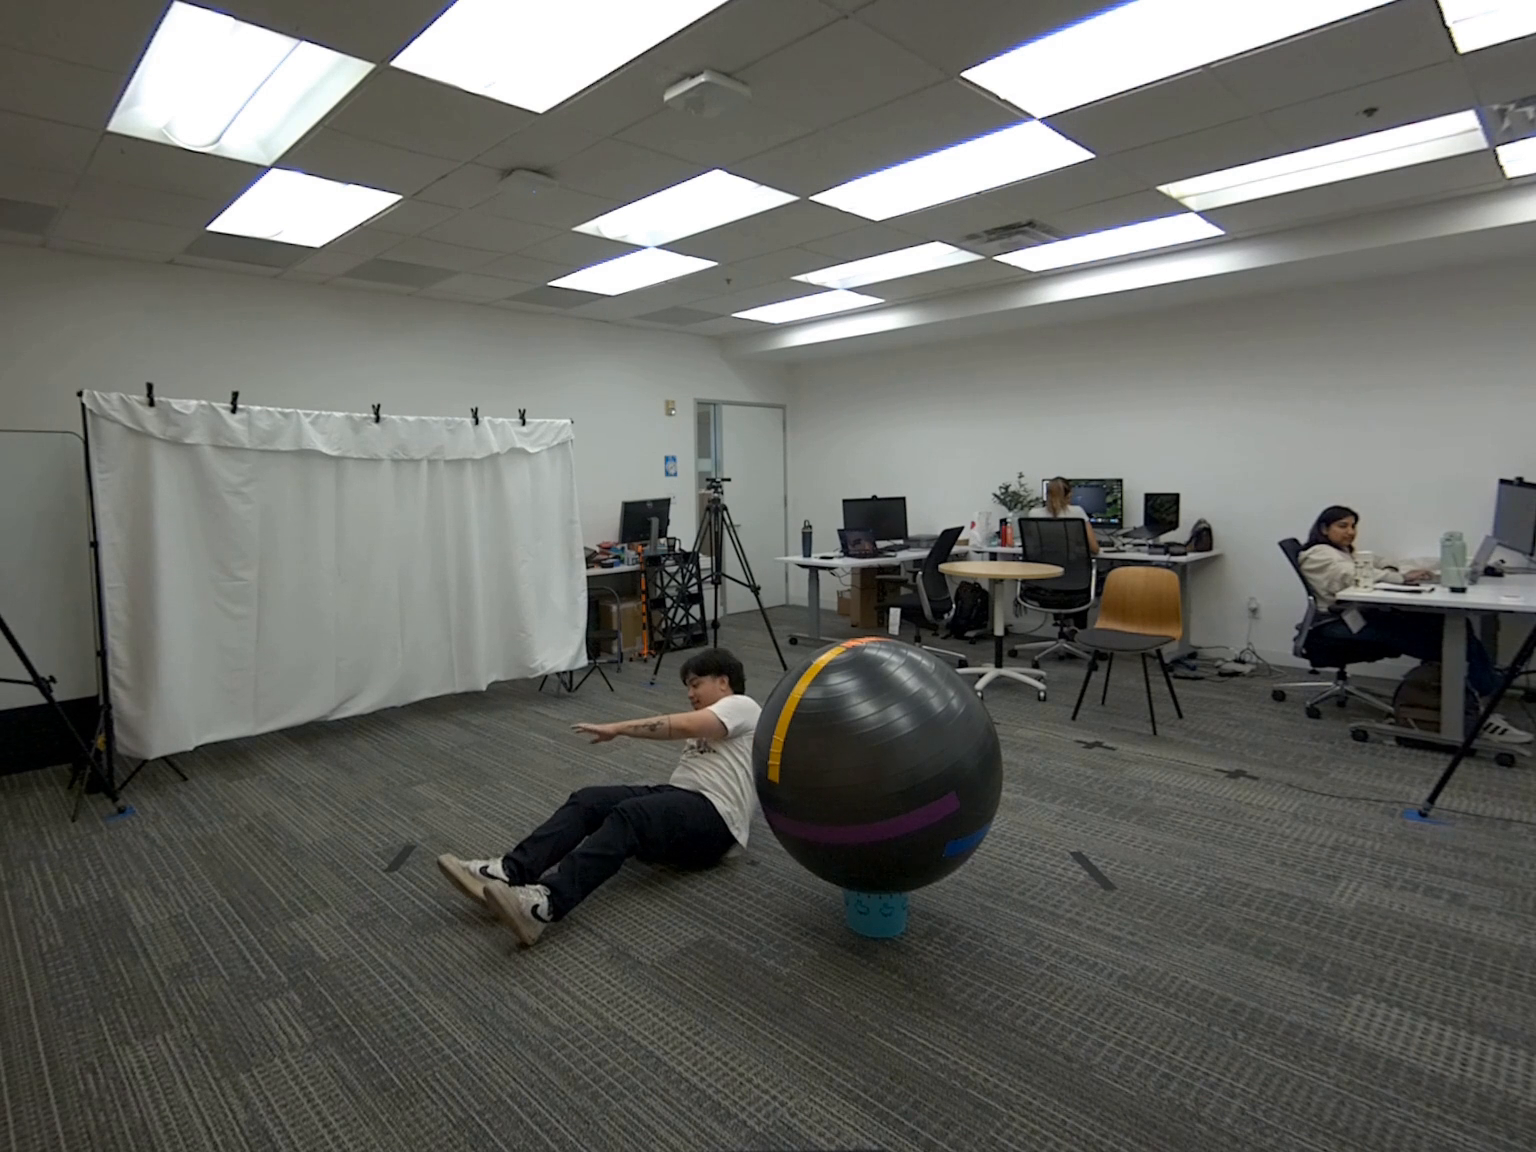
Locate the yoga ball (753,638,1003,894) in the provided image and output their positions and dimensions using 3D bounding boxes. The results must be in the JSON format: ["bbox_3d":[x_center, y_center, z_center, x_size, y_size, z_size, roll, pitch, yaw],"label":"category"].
[{"bbox_3d":[0.335,0.578,2.627,0.757,0.755,0.762,-1,5,-2],"label":"yoga ball"}]
